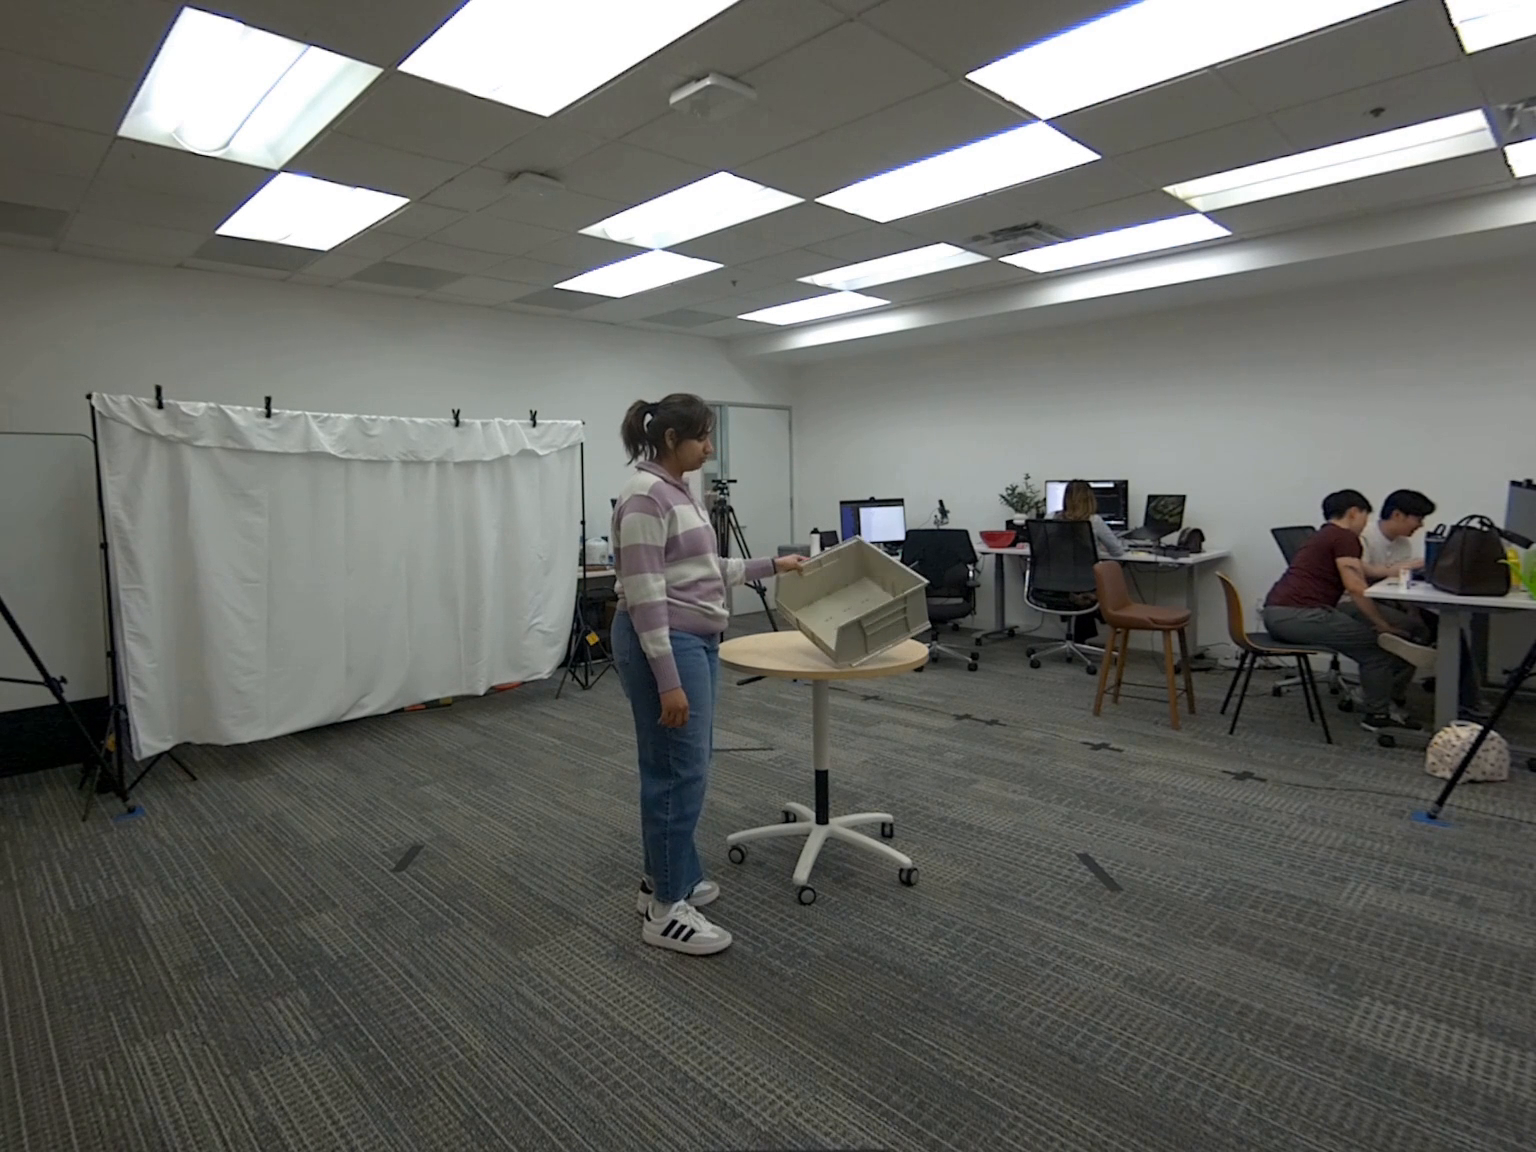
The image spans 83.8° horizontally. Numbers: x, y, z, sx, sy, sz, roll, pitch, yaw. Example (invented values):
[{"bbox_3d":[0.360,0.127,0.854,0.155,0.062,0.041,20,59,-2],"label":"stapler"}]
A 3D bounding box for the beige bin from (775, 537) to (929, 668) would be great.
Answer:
[{"bbox_3d":[0.279,0.085,2.908,0.374,0.184,0.438,-24,32,-18],"label":"beige bin"}]
